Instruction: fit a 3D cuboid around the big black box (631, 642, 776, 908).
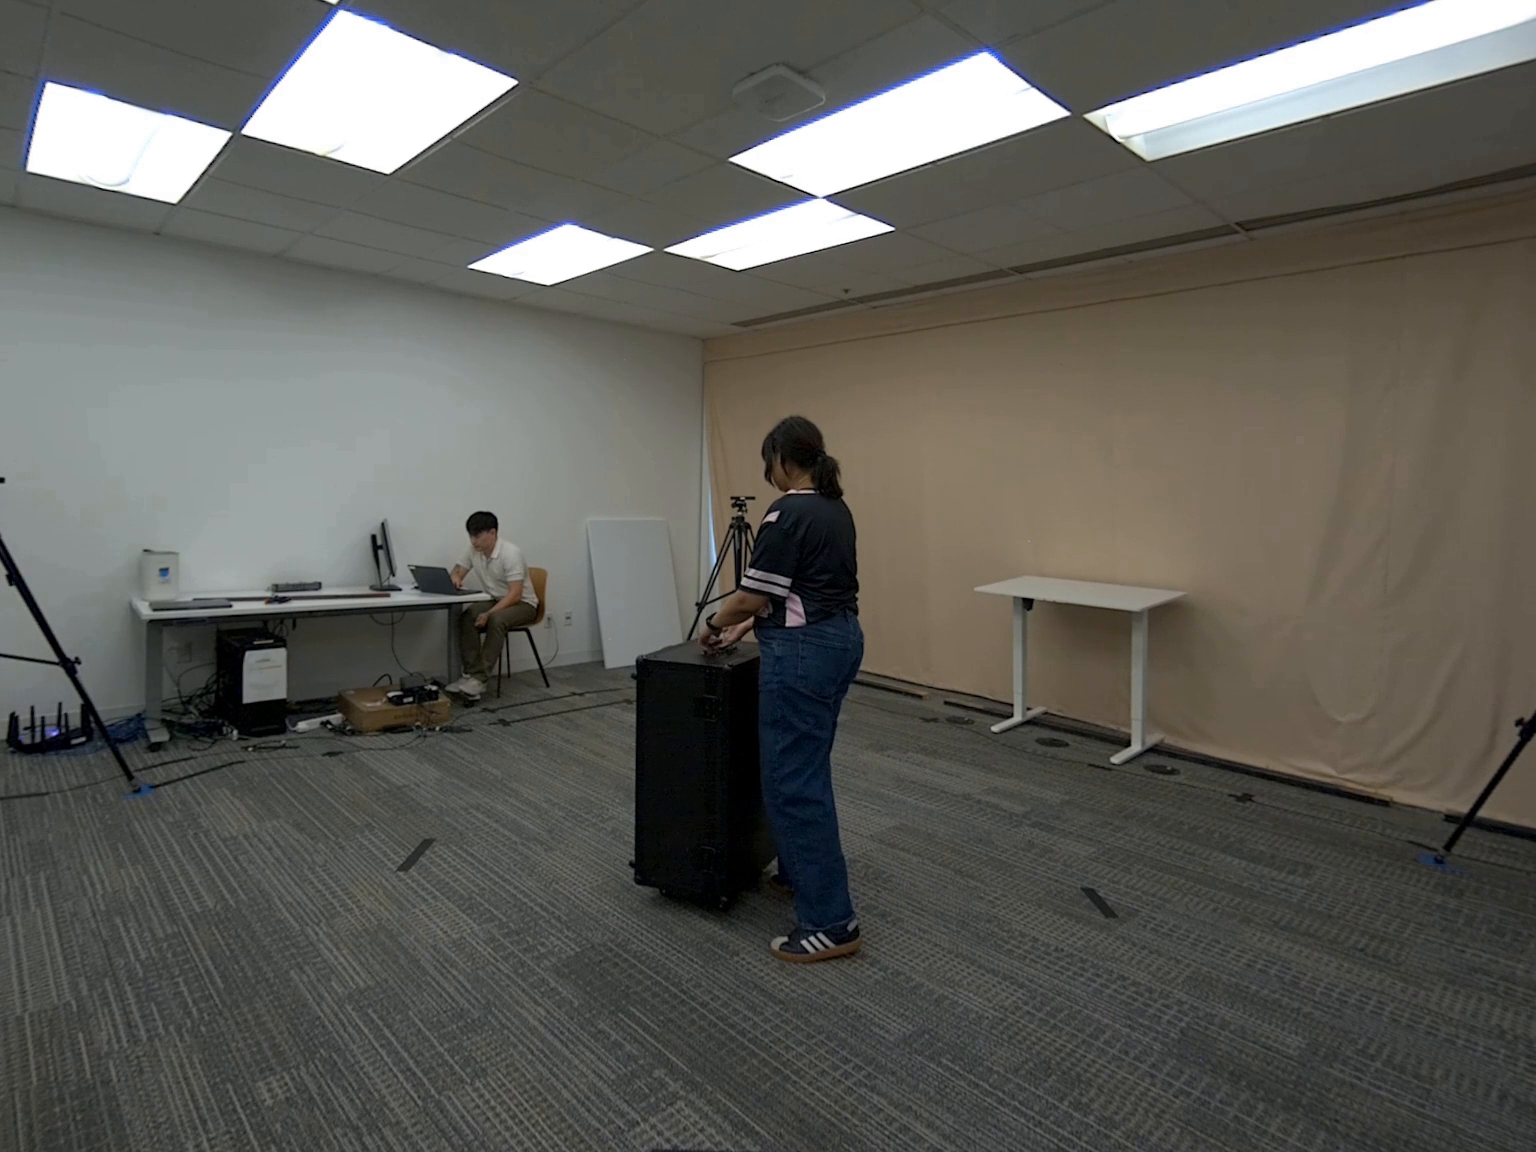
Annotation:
[{"bbox_3d":[-0.216,0.694,2.992,0.404,0.860,0.512,2,3,24],"label":"big black box"}]
